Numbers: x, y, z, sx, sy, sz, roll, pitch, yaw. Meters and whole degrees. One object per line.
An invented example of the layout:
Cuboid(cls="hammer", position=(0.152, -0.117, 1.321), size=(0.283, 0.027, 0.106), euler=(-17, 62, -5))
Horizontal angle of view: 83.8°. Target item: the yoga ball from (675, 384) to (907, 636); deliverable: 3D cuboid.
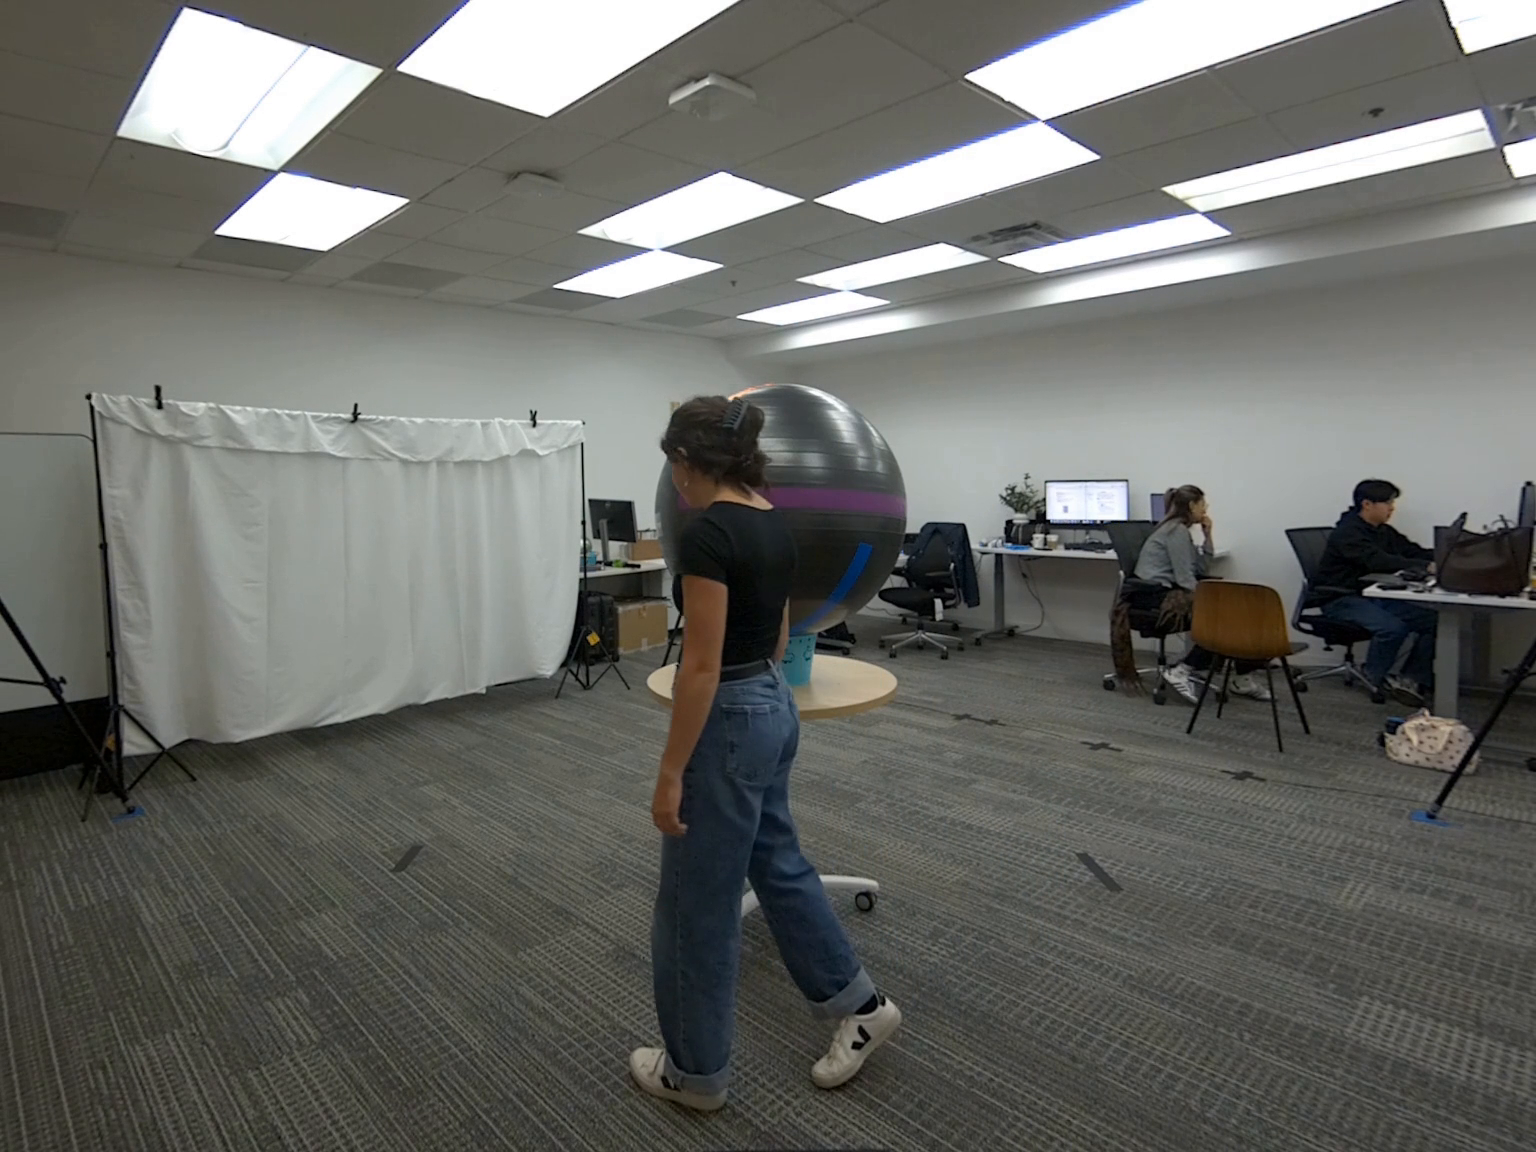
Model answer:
Cuboid(cls="yoga ball", position=(0.037, -0.192, 2.585), size=(0.757, 0.755, 0.762), euler=(-1, 5, -2))
